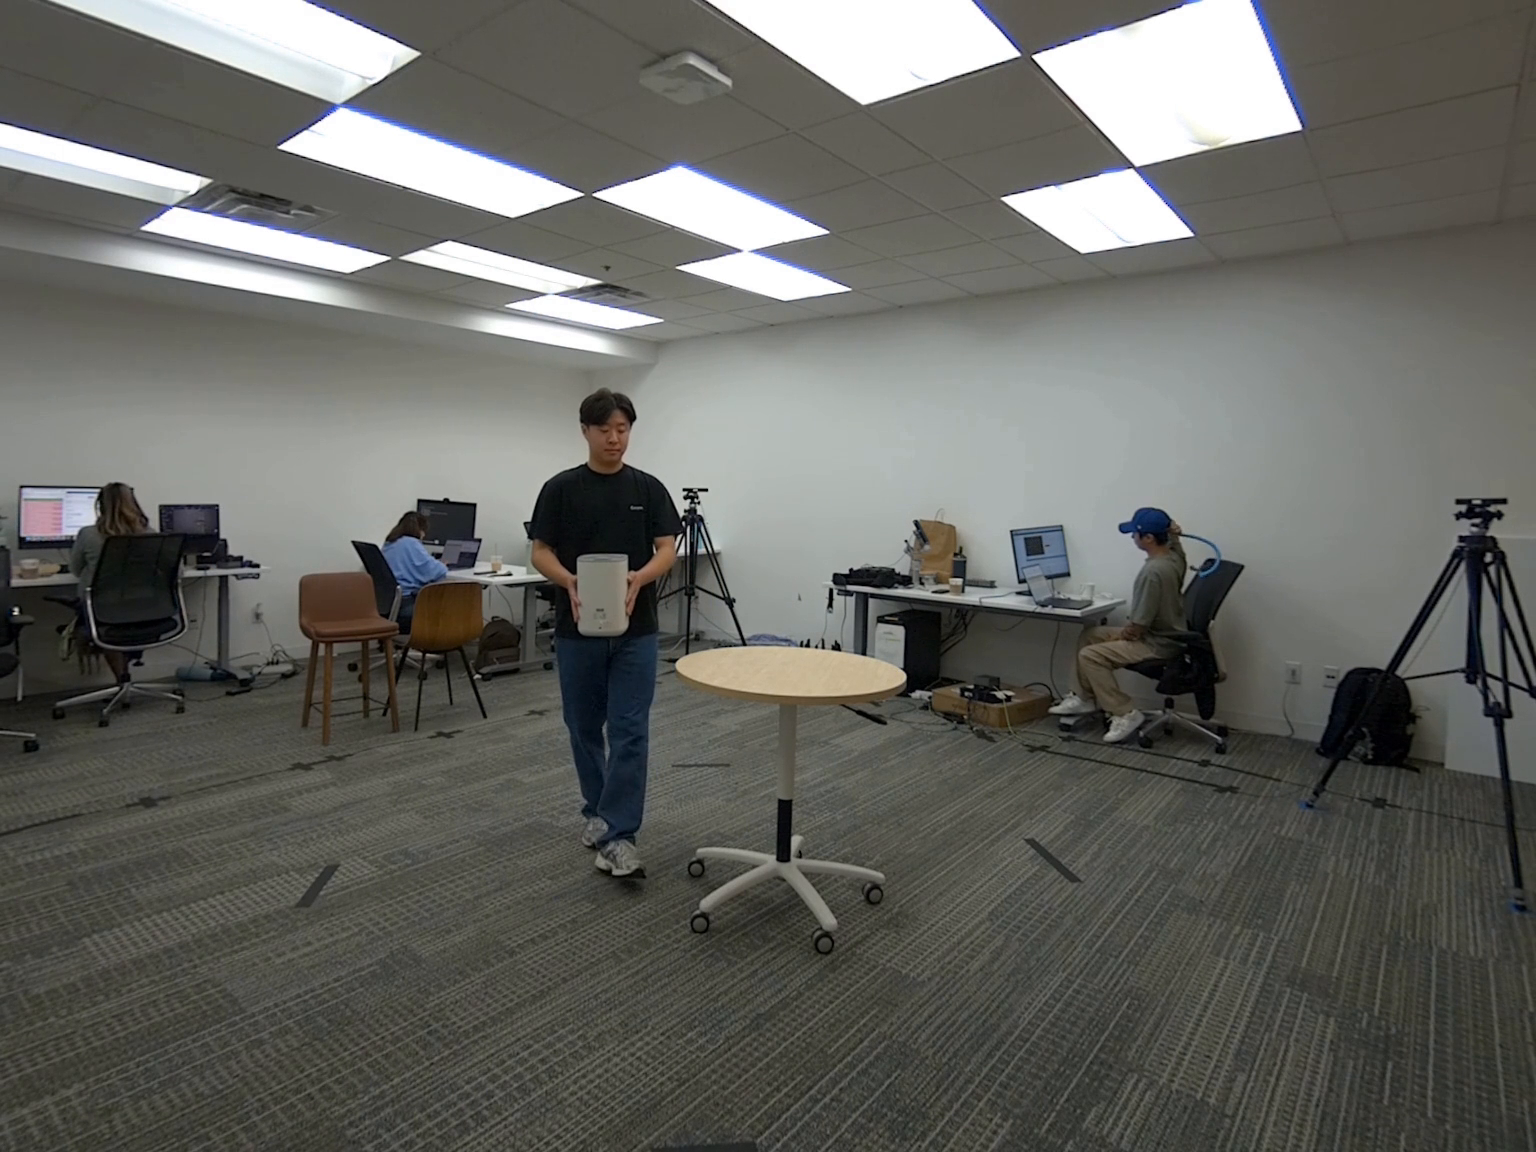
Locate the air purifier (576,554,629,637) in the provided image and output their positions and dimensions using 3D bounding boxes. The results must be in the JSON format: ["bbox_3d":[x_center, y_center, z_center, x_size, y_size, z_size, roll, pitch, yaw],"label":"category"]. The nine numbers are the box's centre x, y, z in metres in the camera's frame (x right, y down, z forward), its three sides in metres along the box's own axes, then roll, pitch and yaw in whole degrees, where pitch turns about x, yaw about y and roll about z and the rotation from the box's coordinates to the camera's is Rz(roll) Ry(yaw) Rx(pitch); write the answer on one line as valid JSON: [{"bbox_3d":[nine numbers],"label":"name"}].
[{"bbox_3d":[-0.587,0.062,2.952,0.170,0.264,0.174,-1,7,-7],"label":"air purifier"}]
